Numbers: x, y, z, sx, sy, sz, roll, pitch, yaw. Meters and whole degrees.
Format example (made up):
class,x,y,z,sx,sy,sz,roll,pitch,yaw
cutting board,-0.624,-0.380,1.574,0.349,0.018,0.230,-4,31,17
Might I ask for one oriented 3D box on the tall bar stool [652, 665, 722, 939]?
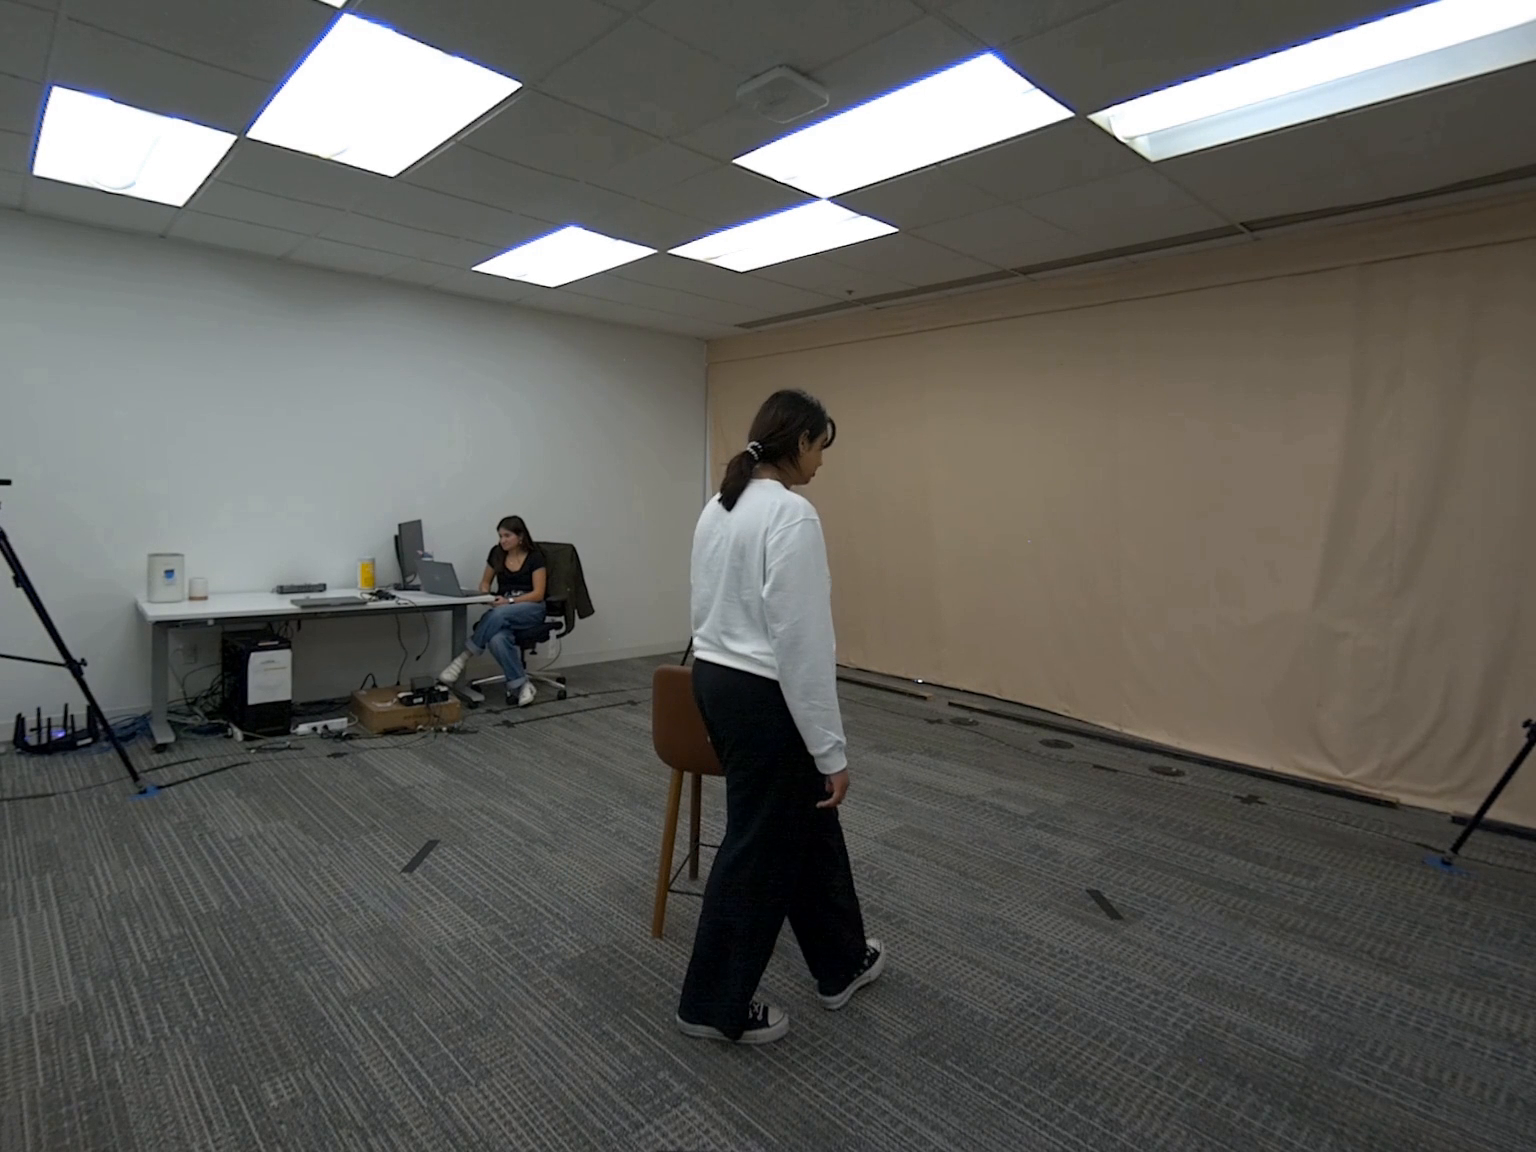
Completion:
class,x,y,z,sx,sy,sz,roll,pitch,yaw
tall bar stool,-0.132,0.703,2.787,0.462,0.886,0.463,2,6,15
